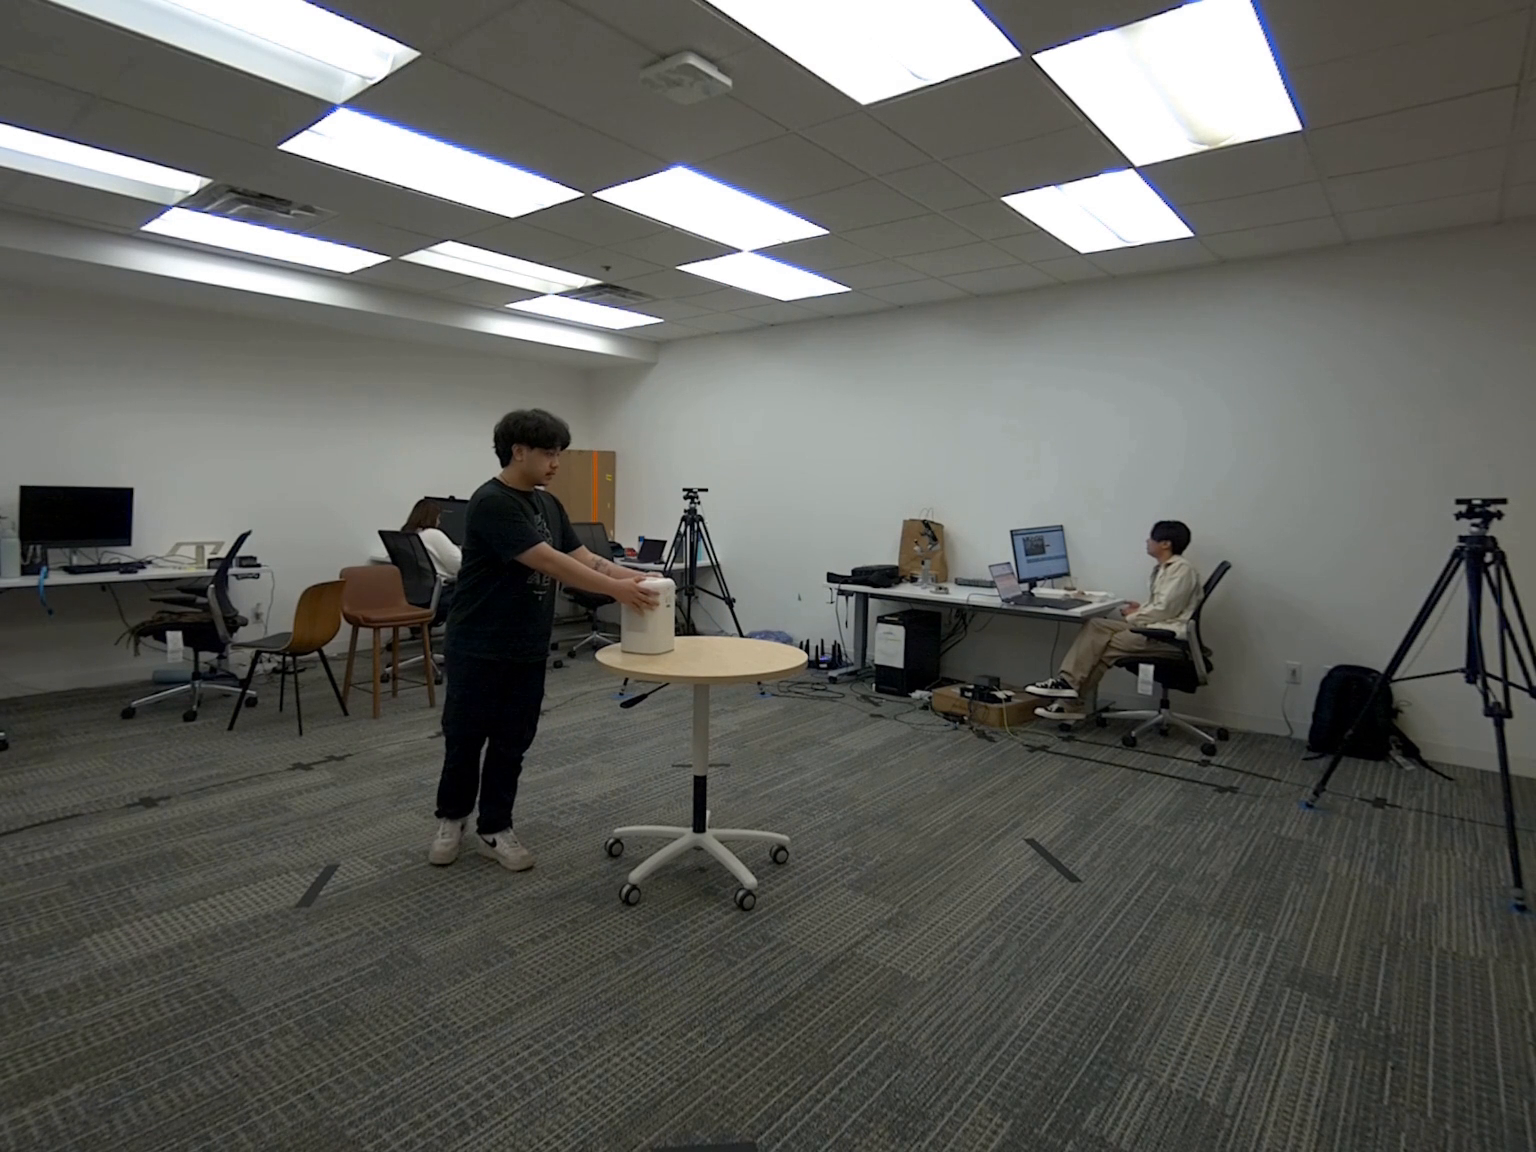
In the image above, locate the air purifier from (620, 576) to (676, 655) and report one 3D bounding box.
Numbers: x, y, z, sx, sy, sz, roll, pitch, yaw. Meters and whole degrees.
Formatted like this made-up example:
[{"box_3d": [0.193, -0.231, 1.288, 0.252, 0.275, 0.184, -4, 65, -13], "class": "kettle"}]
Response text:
[{"box_3d": [-0.455, 0.146, 3.124, 0.176, 0.265, 0.167, 1, 3, 25], "class": "air purifier"}]
